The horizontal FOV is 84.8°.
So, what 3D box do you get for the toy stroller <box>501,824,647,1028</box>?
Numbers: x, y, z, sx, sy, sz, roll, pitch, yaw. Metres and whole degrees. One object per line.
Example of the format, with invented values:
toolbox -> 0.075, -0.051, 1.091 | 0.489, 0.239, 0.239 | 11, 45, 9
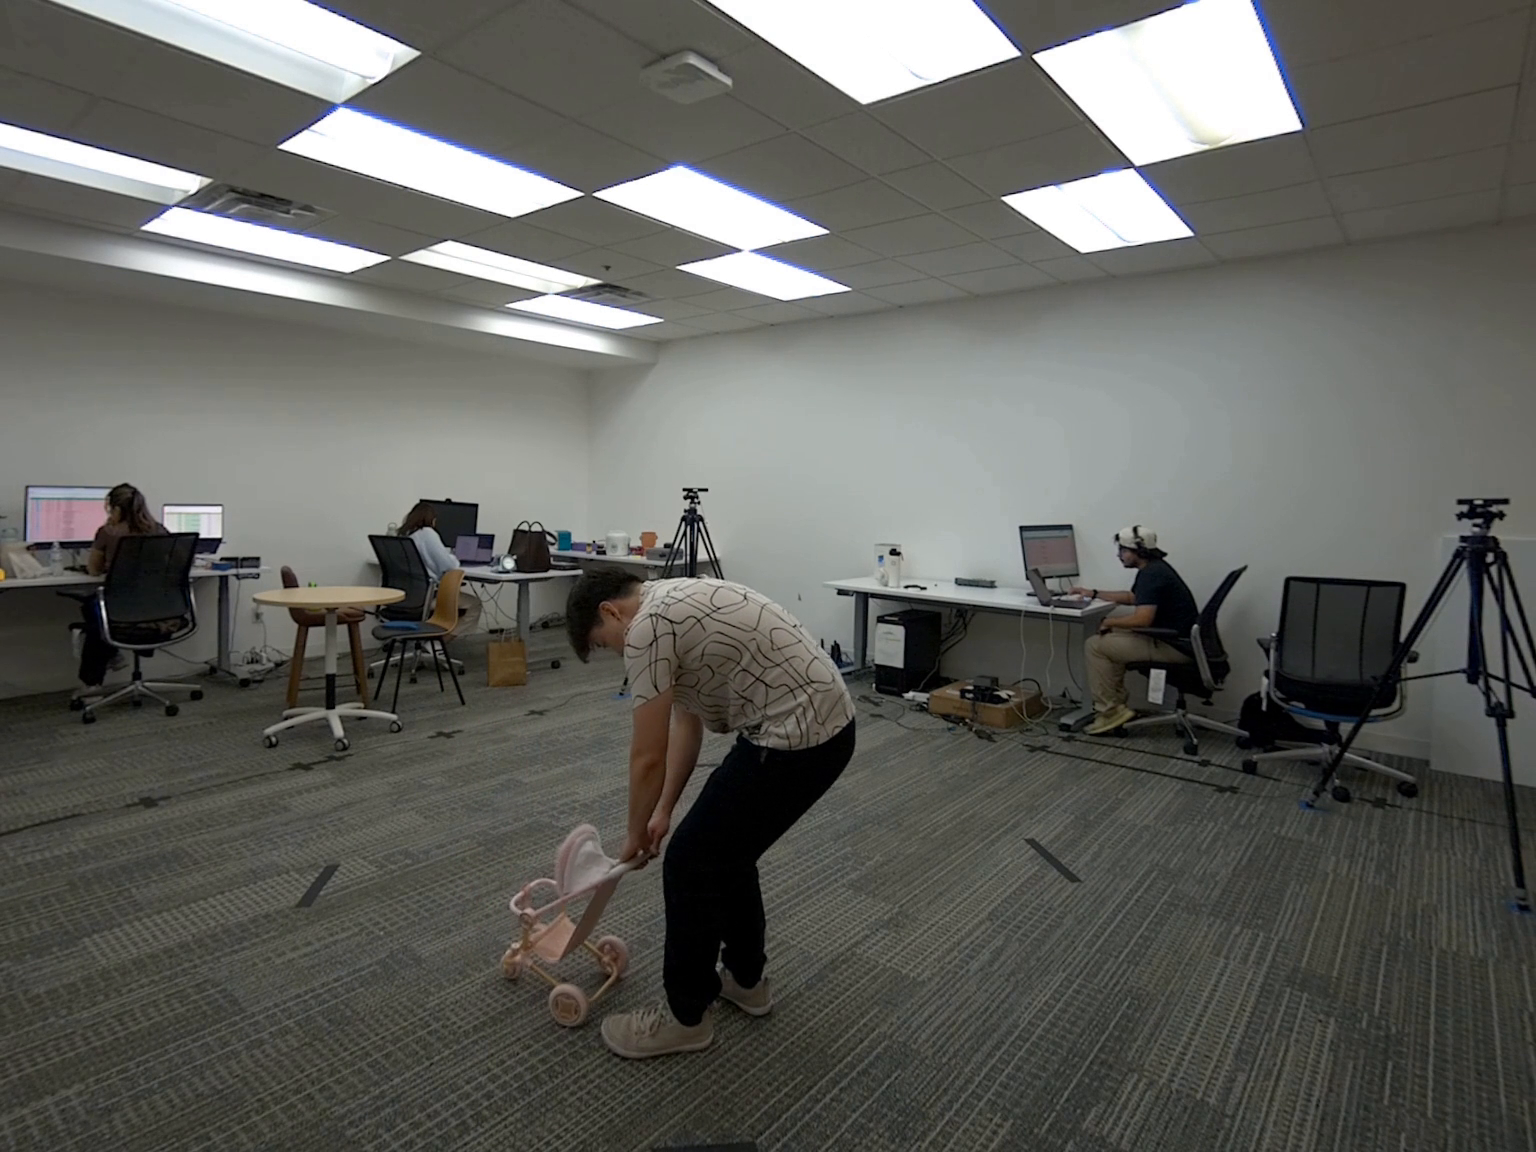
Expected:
toy stroller -> -0.545, 0.918, 2.323 | 0.351, 0.532, 0.275 | 19, 10, 21
